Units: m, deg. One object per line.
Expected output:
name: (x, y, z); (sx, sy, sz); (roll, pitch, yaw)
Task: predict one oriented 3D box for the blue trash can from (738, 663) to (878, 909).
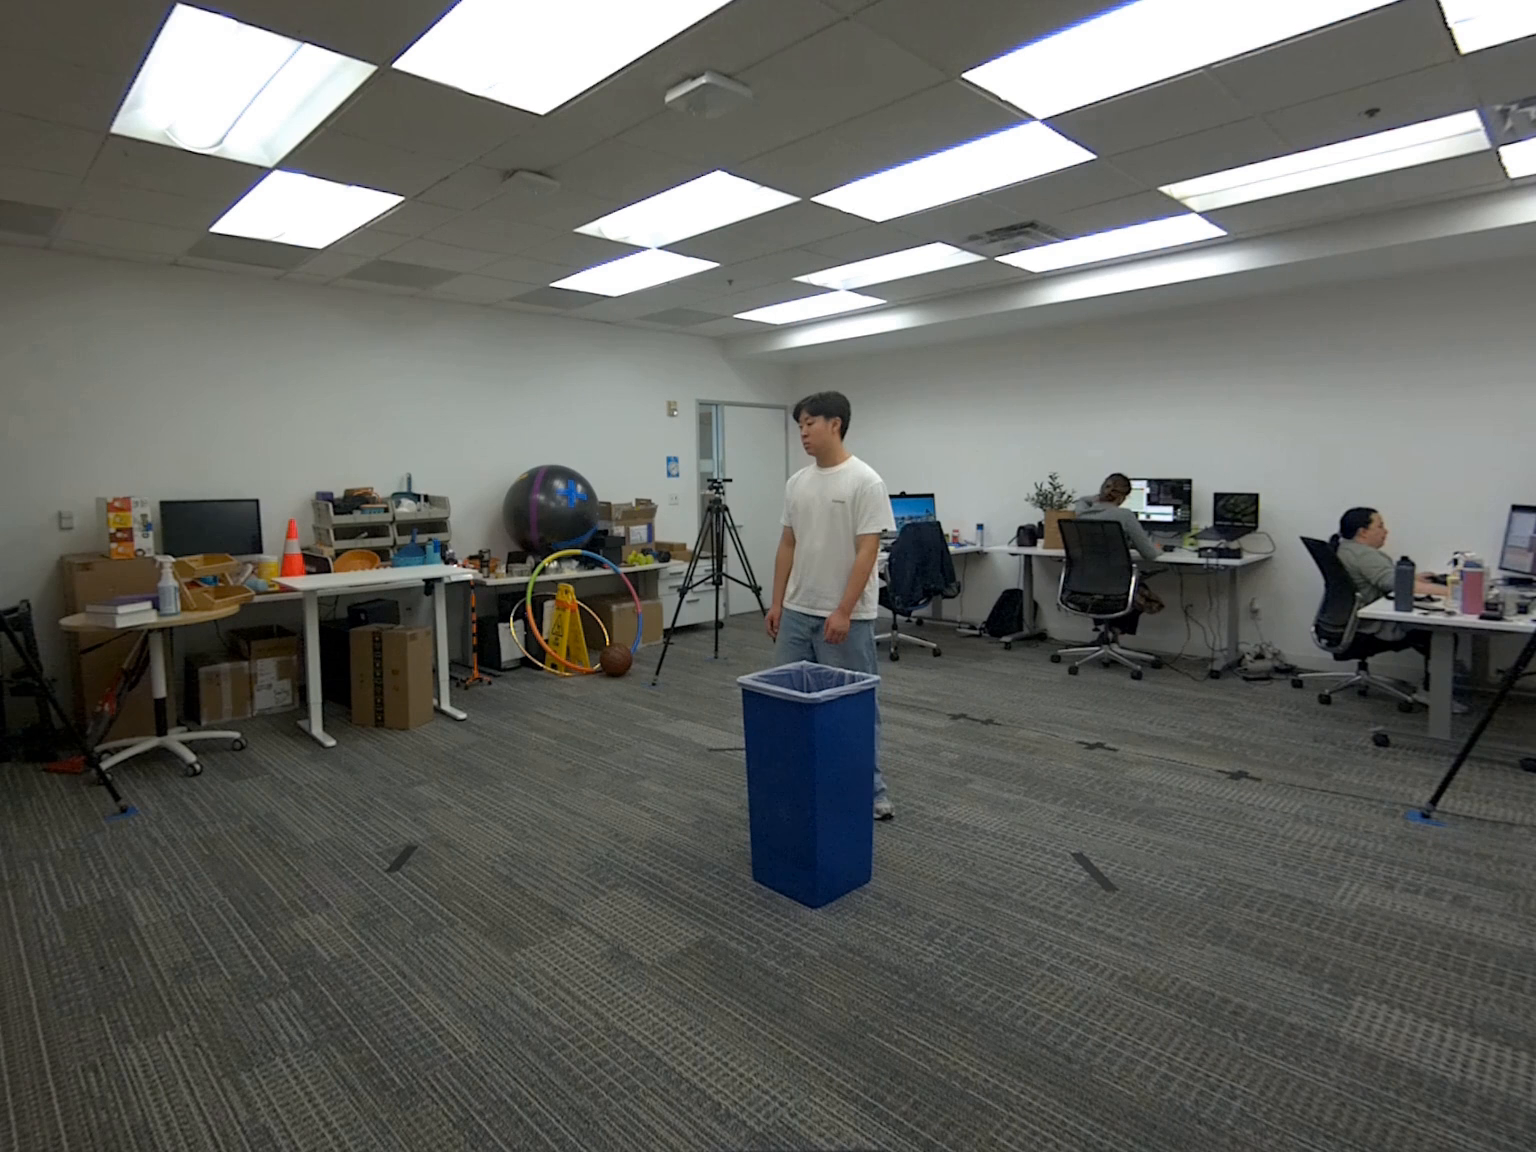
blue trash can: (0.144, 0.702, 2.941); (0.364, 0.711, 0.390); (-4, 5, -44)
